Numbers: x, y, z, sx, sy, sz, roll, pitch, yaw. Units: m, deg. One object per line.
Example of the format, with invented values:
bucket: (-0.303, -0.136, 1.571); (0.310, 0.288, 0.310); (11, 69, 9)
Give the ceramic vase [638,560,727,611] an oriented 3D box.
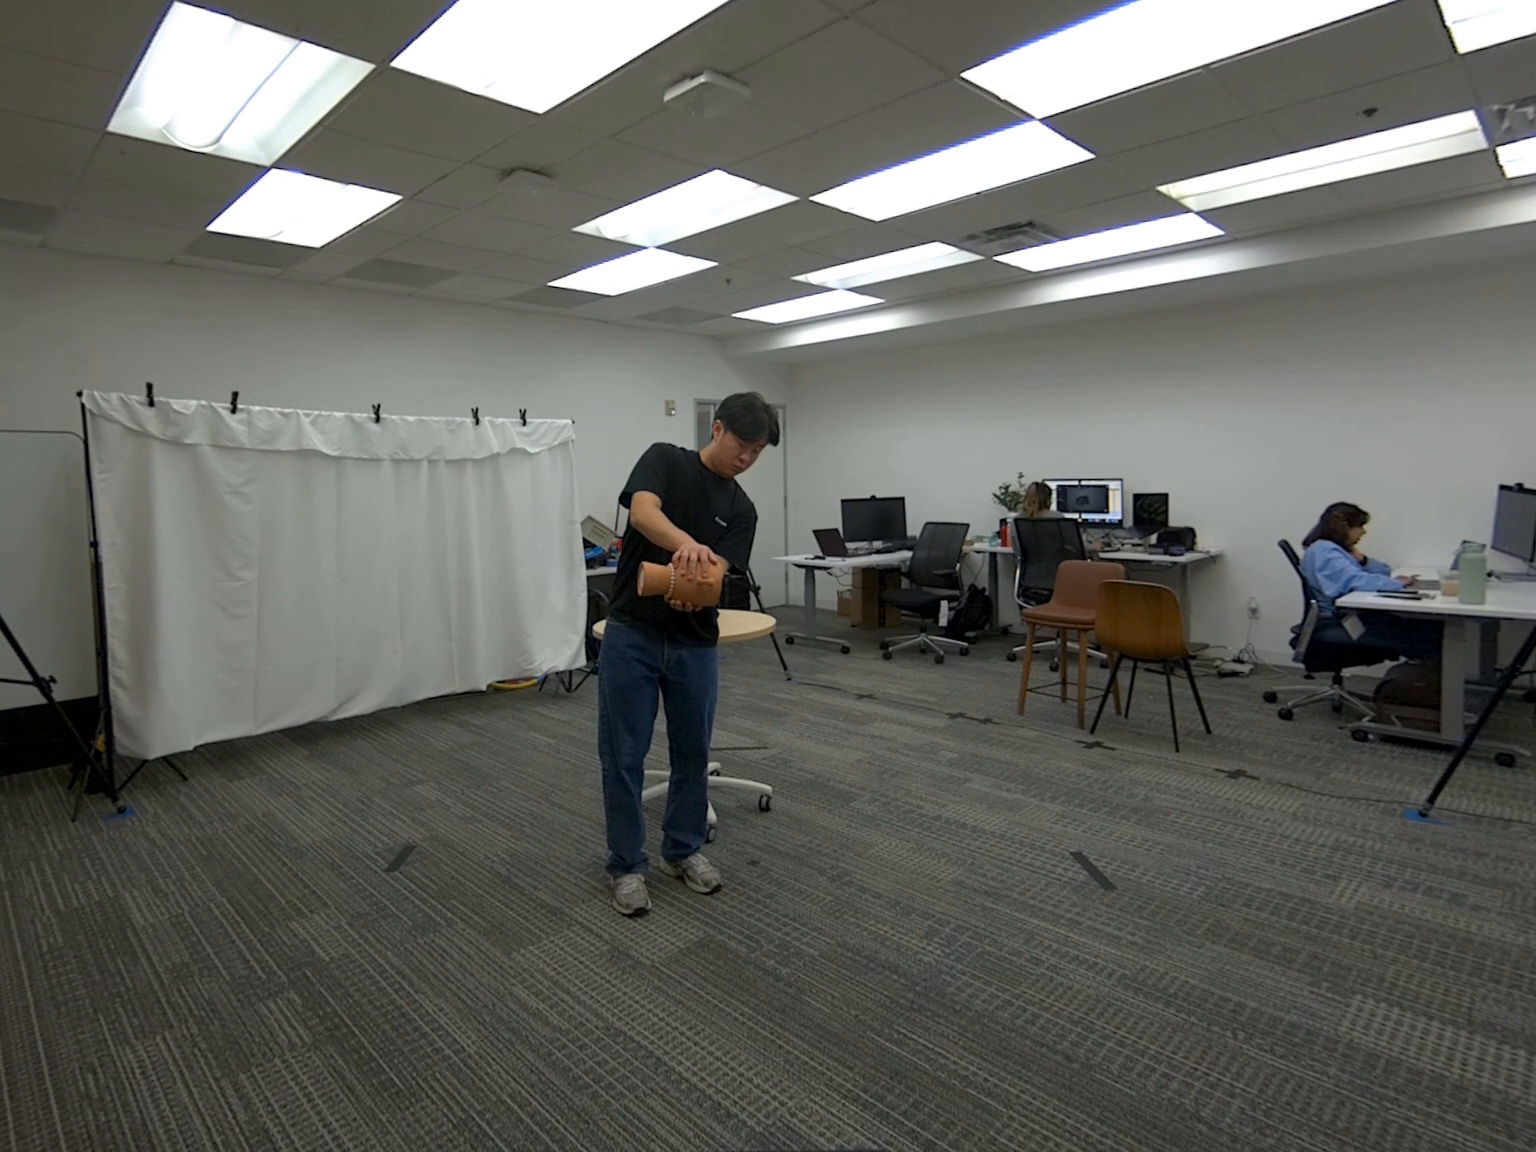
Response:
ceramic vase: (-0.237, 0.017, 2.442); (0.216, 0.139, 0.156); (3, -41, -16)
